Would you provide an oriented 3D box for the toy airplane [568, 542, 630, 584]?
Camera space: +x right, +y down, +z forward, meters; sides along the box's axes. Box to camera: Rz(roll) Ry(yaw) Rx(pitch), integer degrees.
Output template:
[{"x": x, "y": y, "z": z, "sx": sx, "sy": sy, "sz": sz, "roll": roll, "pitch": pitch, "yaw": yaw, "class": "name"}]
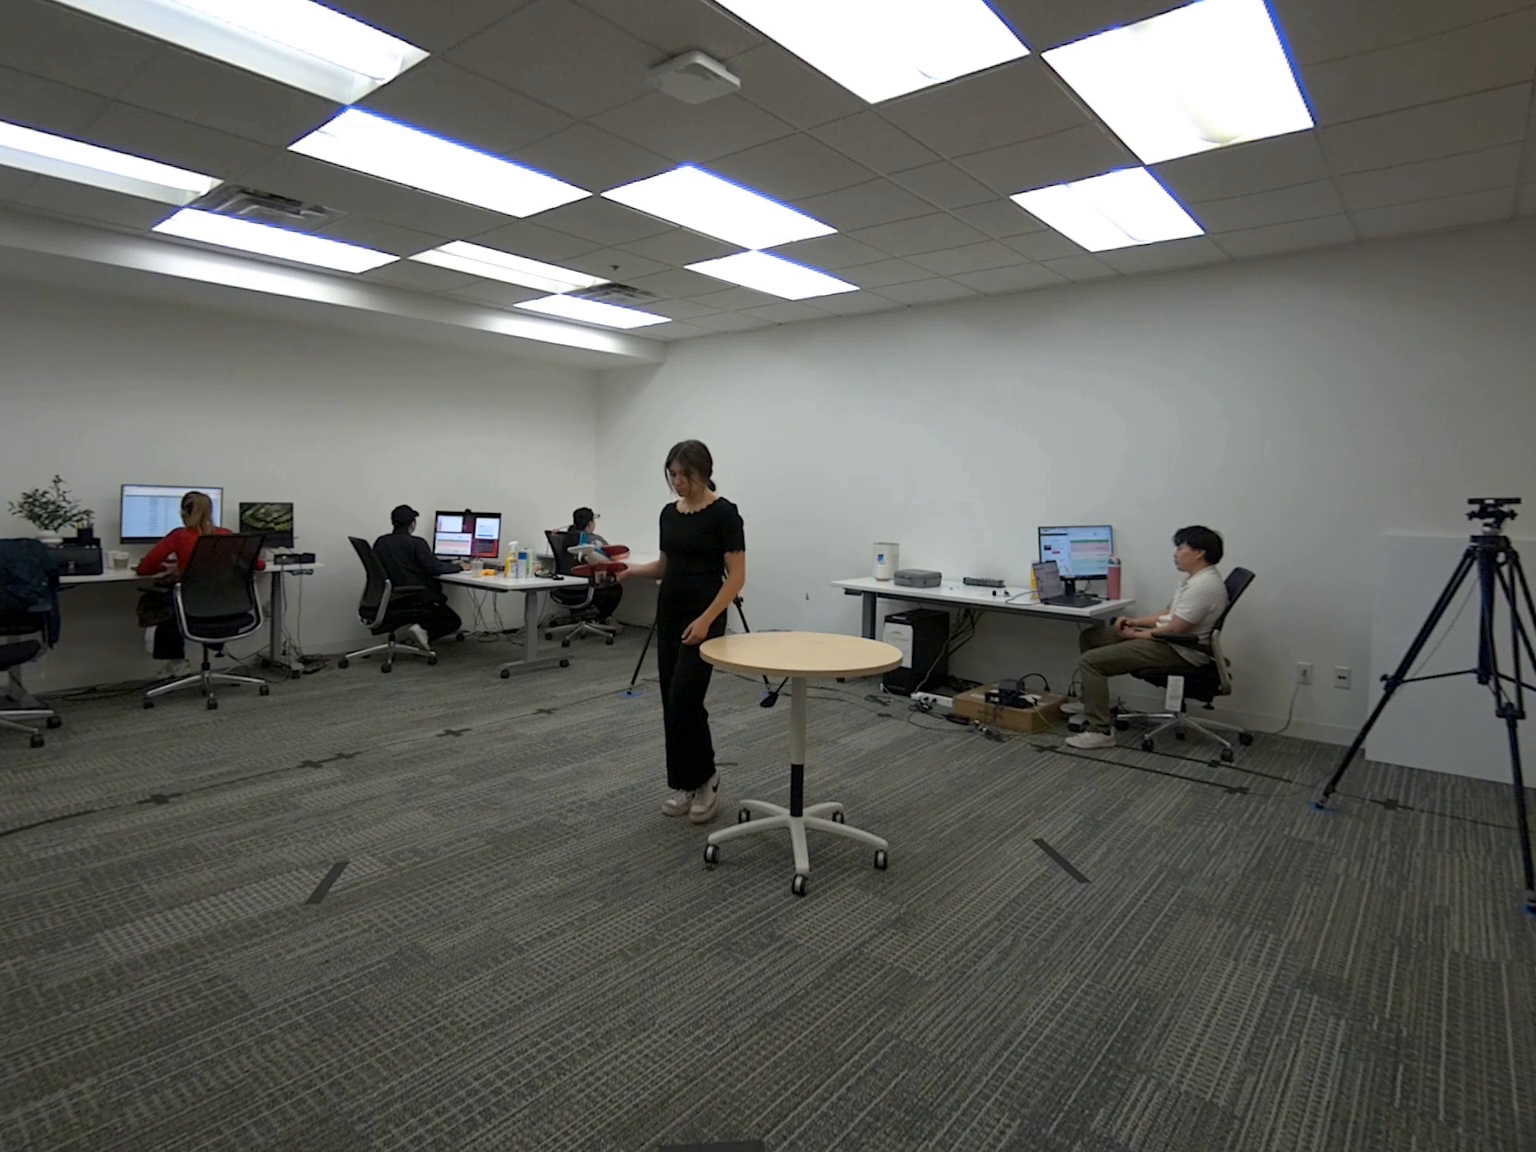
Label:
[{"x": -0.723, "y": -0.075, "z": 3.568, "sx": 0.251, "sy": 0.160, "sz": 0.254, "roll": 10, "pitch": -35, "yaw": -1, "class": "toy airplane"}]
